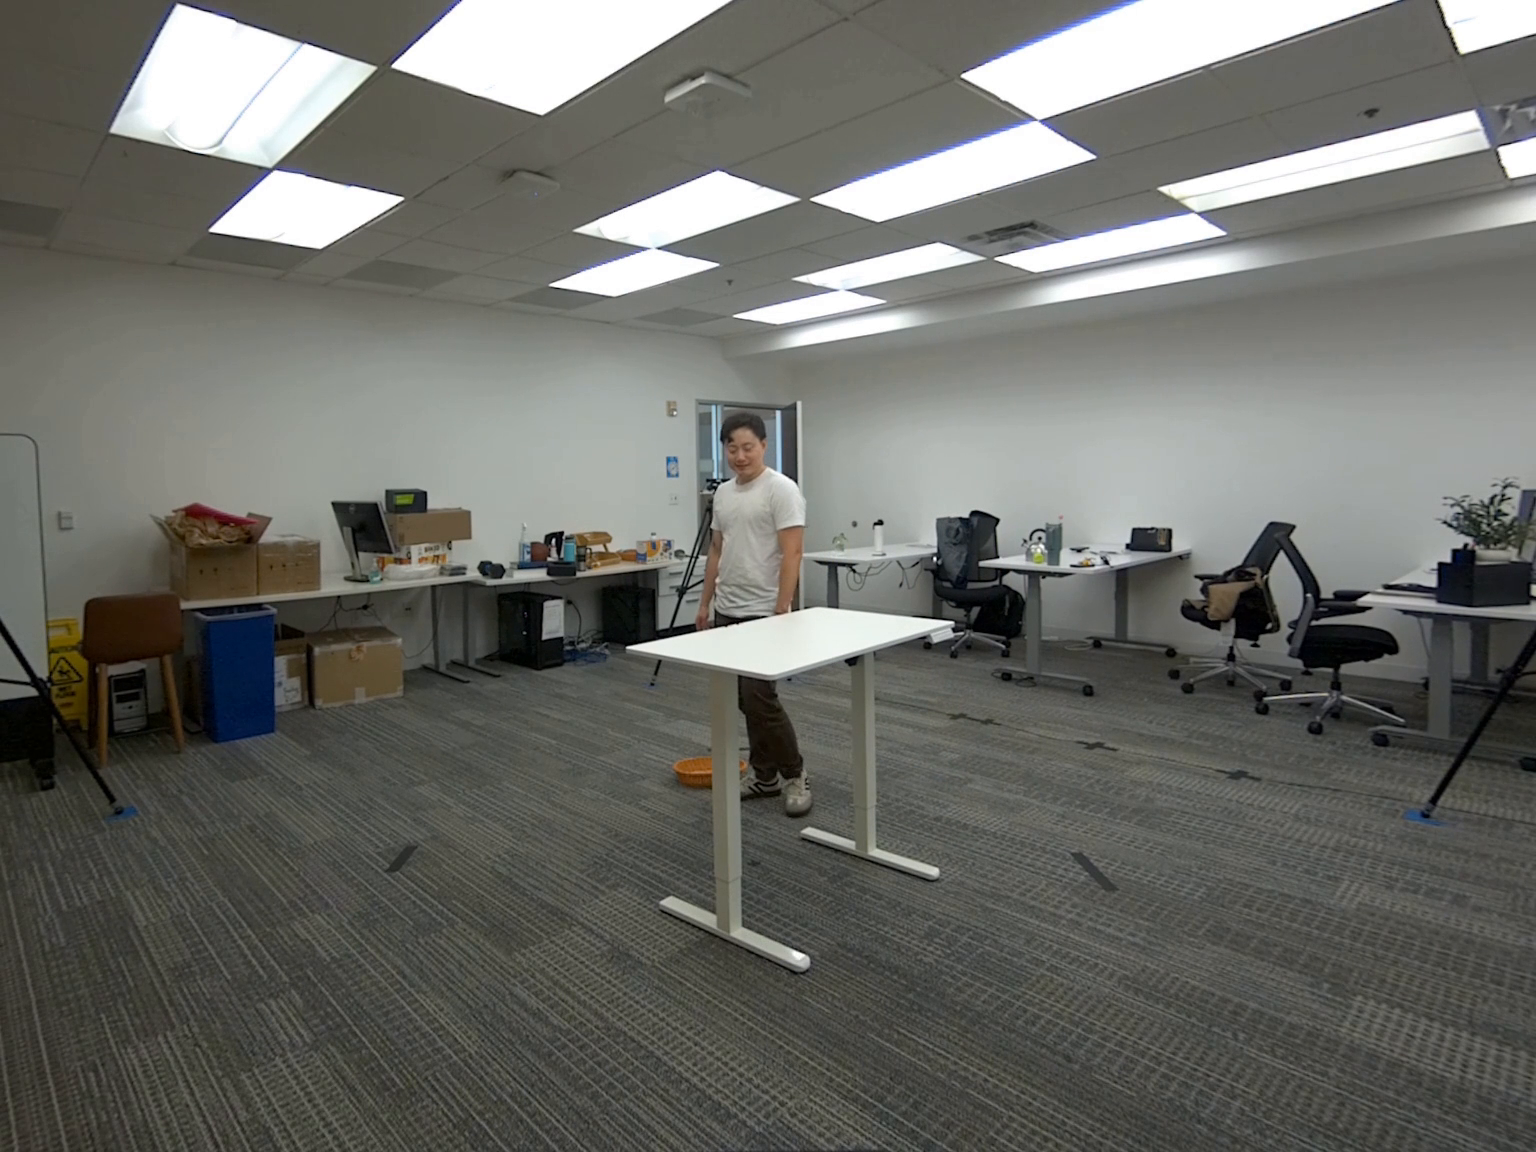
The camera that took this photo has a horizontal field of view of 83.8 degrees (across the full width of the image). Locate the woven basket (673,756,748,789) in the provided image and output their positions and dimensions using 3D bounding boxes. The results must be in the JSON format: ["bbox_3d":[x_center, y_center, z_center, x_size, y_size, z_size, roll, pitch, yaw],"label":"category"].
[{"bbox_3d":[-0.271,0.914,3.986,0.350,0.073,0.253,-1,5,-1],"label":"woven basket"}]
